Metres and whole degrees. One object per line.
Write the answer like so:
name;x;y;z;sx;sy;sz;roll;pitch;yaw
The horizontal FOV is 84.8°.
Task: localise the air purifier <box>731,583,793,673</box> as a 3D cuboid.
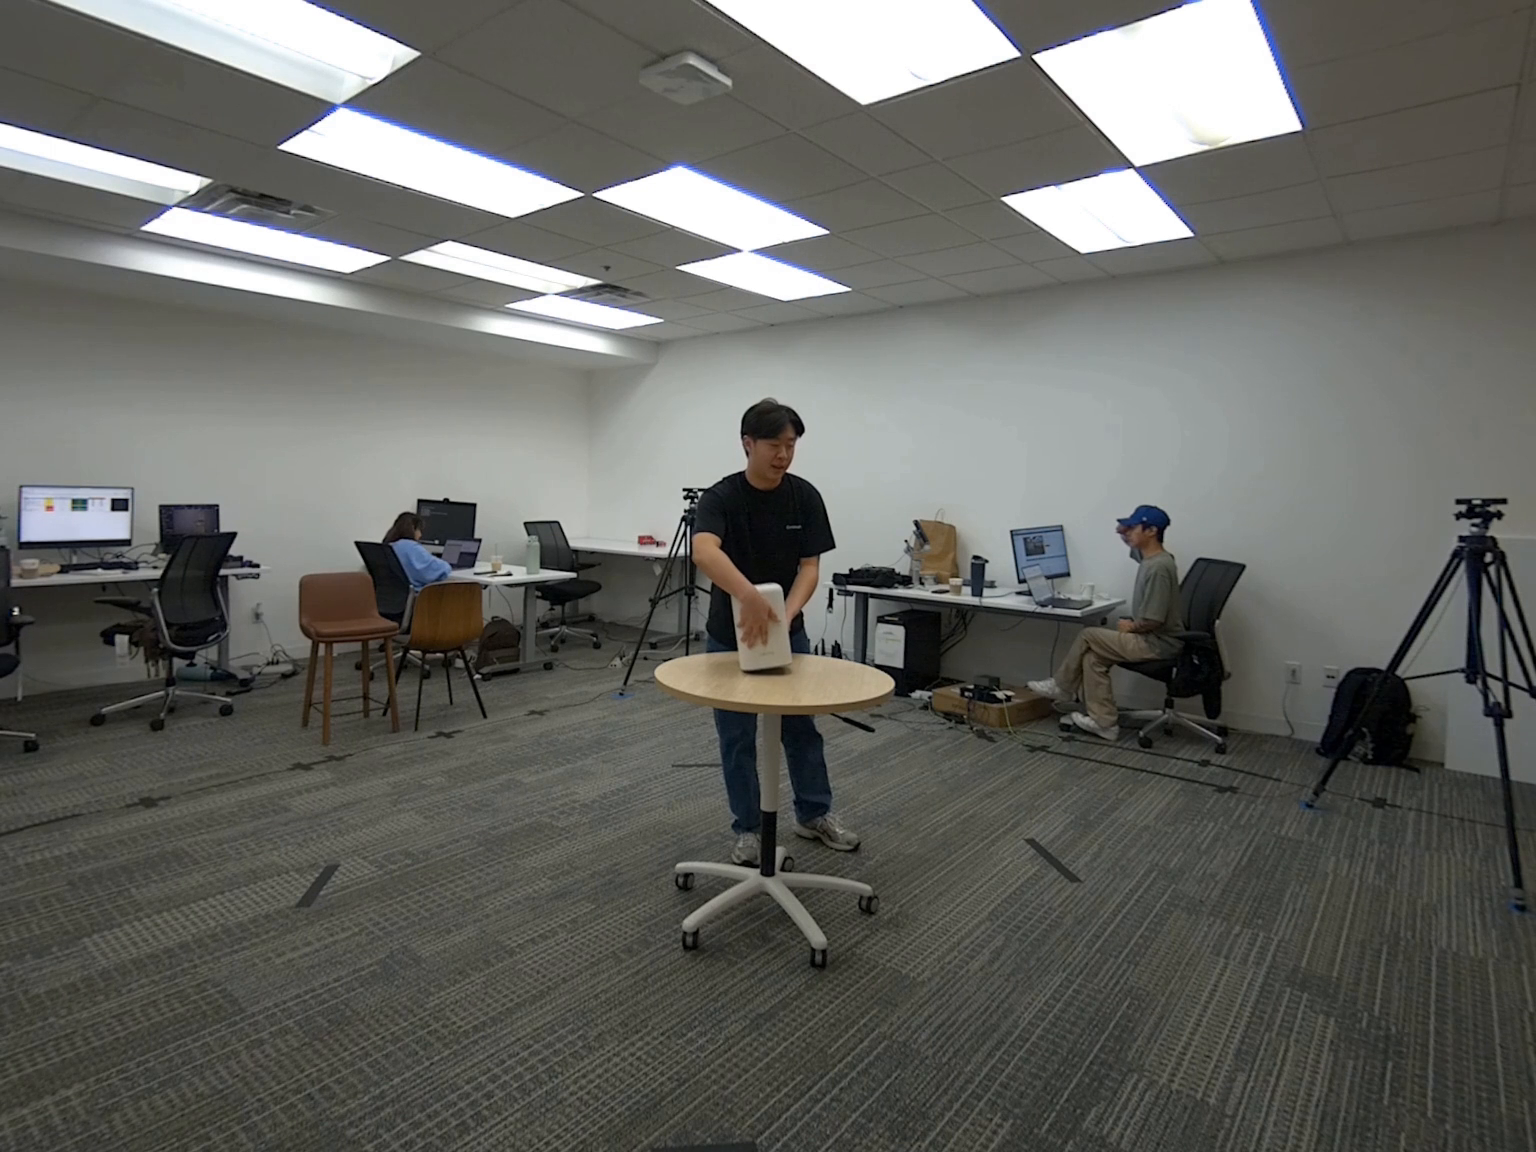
air purifier;-0.033;0.159;2.807;0.171;0.266;0.172;-7;-1;-3
